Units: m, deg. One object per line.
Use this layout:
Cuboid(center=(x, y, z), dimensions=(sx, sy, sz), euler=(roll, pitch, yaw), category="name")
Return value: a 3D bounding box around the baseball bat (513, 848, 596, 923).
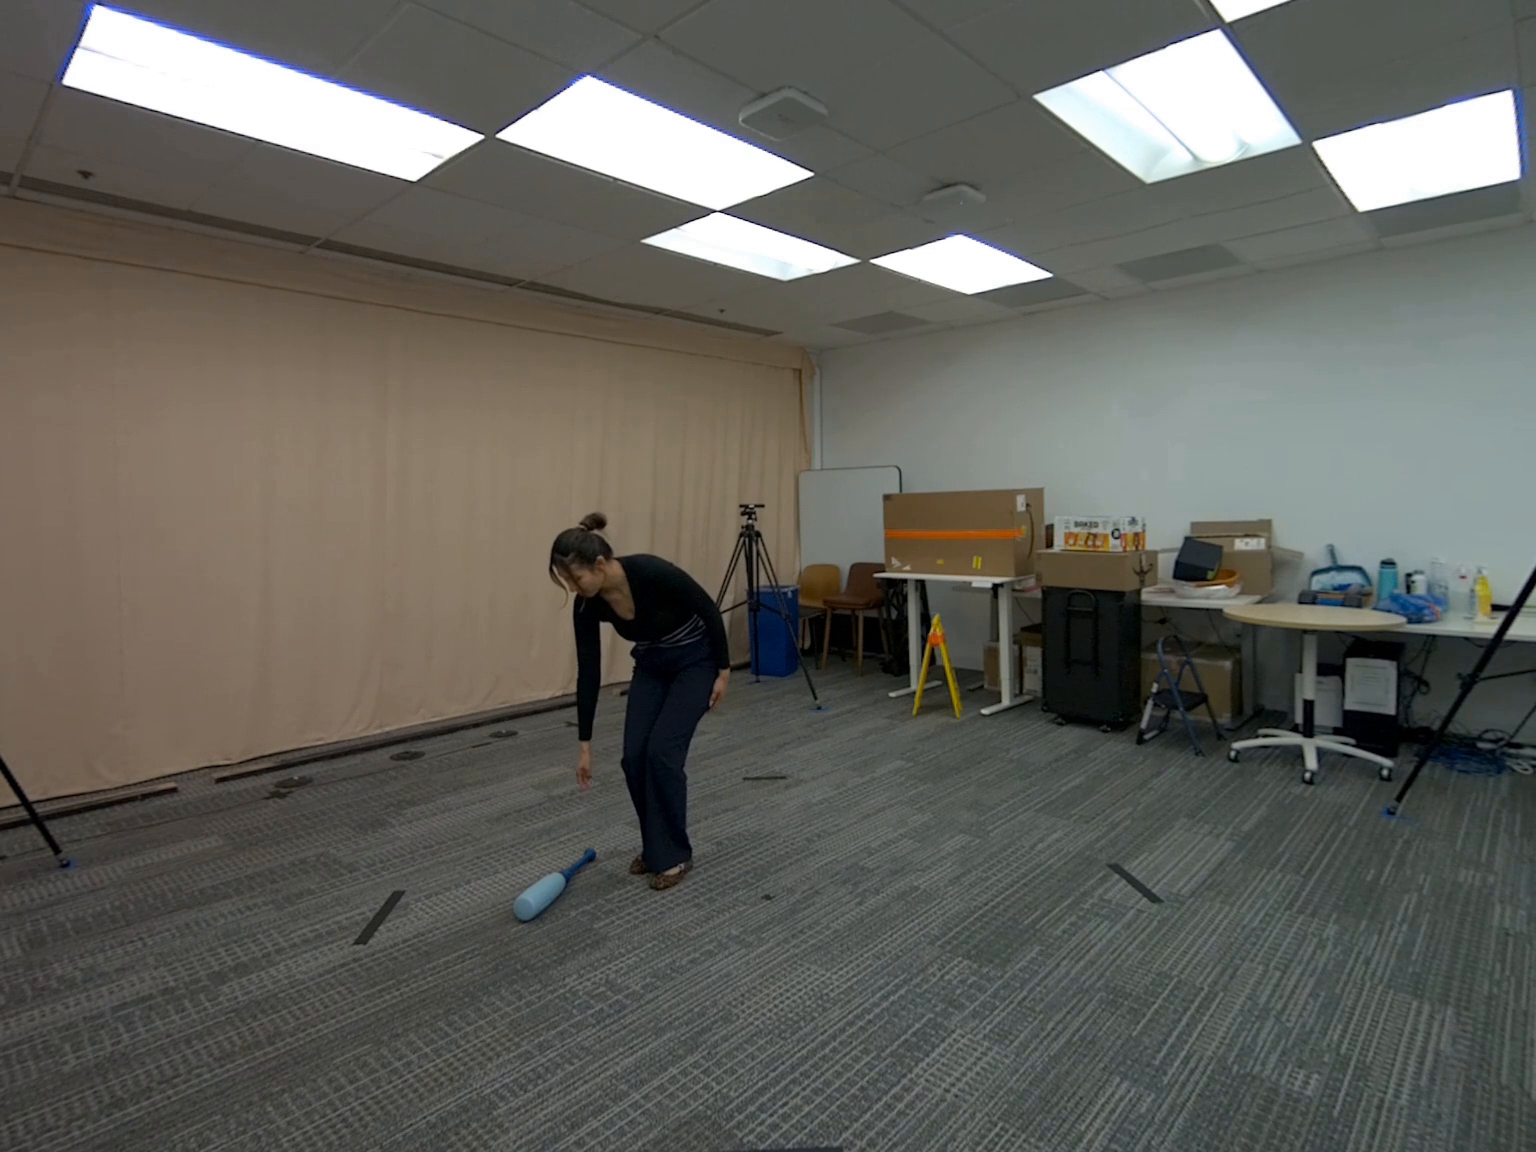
Cuboid(center=(-0.760, 1.113, 3.080), dimensions=(0.090, 0.089, 0.535), euler=(0, 1, 13), category="baseball bat")
